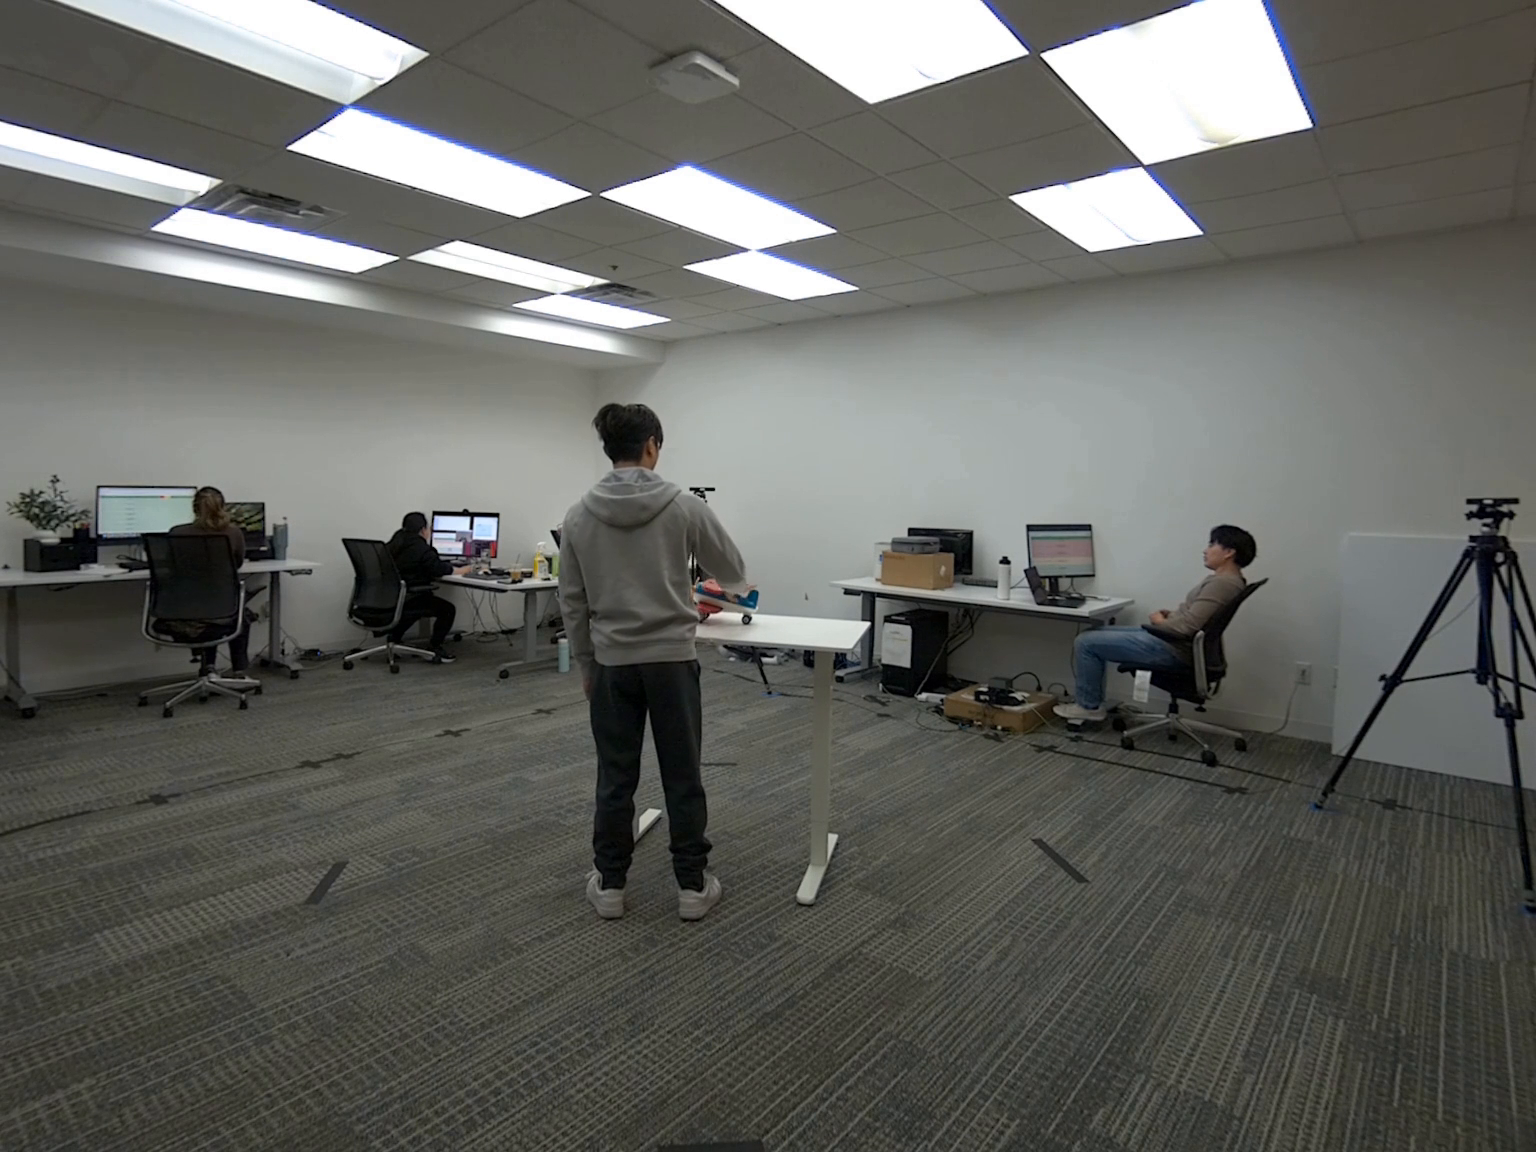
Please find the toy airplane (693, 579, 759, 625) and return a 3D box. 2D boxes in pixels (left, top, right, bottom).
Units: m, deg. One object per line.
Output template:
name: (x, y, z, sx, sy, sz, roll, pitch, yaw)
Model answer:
toy airplane: (-0.181, 0.096, 3.247, 0.254, 0.156, 0.257, -1, 6, -22)
